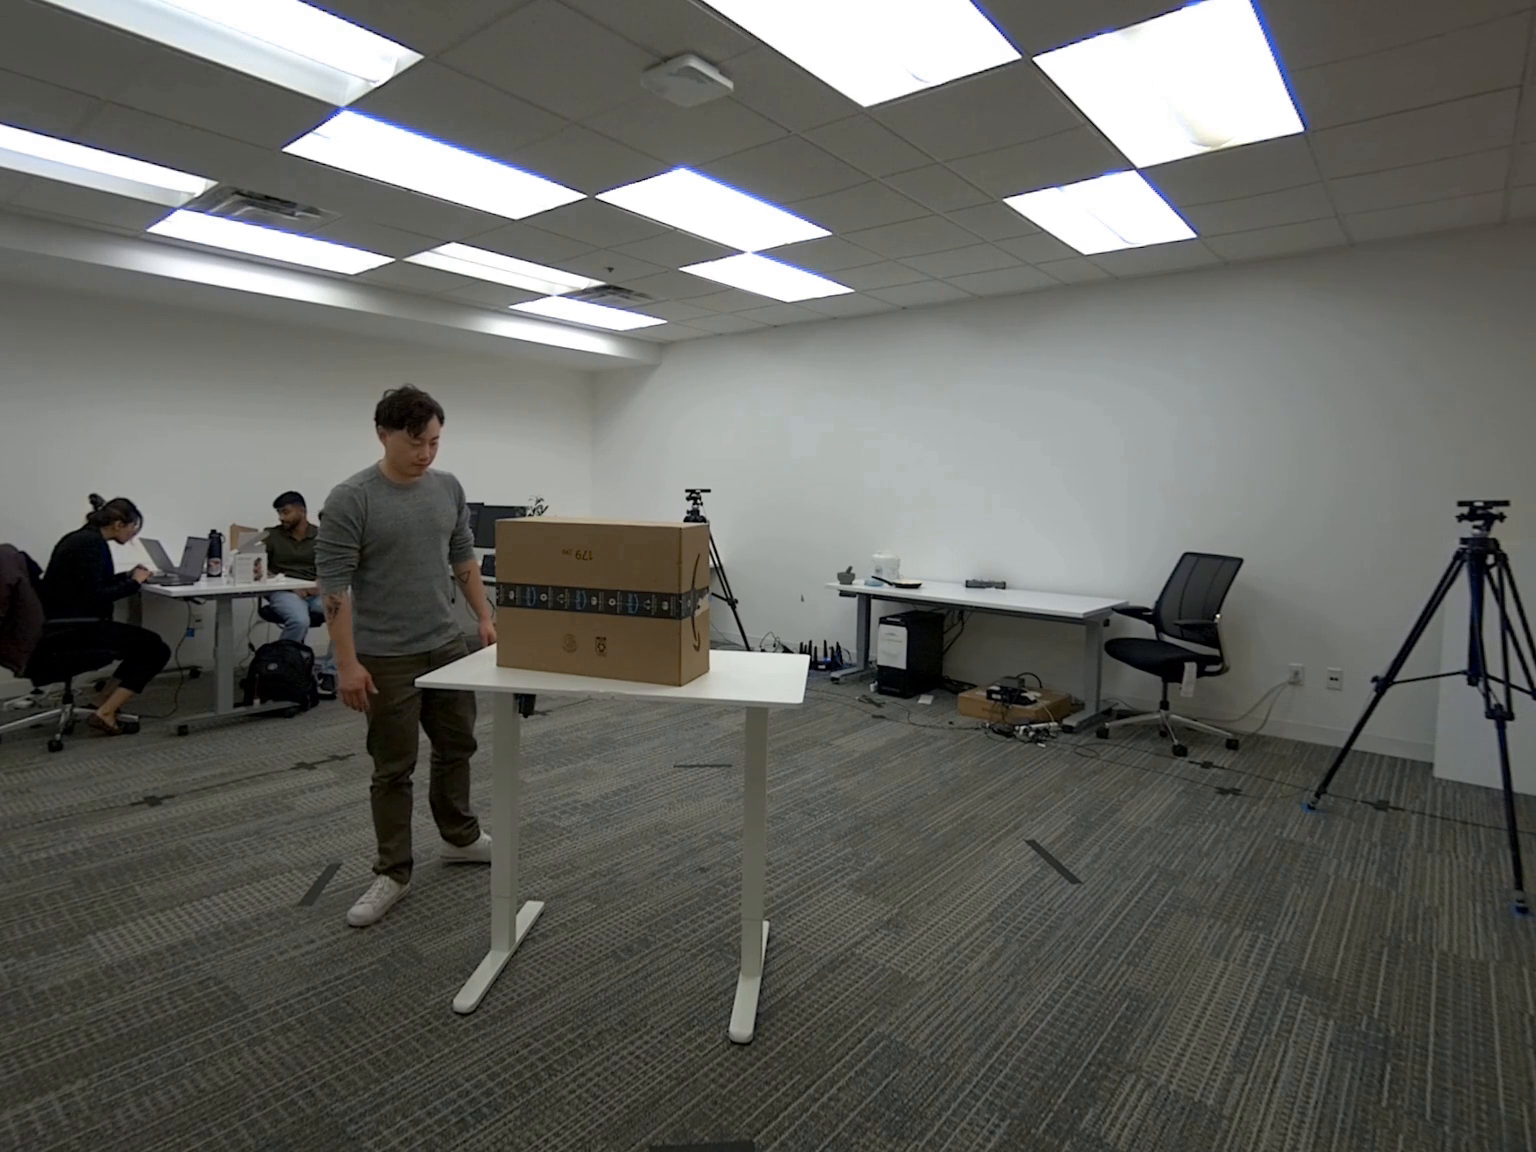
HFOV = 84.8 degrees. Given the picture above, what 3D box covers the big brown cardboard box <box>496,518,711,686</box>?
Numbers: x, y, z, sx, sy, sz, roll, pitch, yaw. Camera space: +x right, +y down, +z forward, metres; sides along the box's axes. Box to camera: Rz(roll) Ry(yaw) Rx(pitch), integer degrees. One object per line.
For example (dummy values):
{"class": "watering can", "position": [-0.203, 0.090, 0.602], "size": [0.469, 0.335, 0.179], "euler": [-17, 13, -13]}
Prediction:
{"class": "big brown cardboard box", "position": [-0.475, 0.054, 2.379], "size": [0.602, 0.416, 0.229], "euler": [3, 5, 20]}
